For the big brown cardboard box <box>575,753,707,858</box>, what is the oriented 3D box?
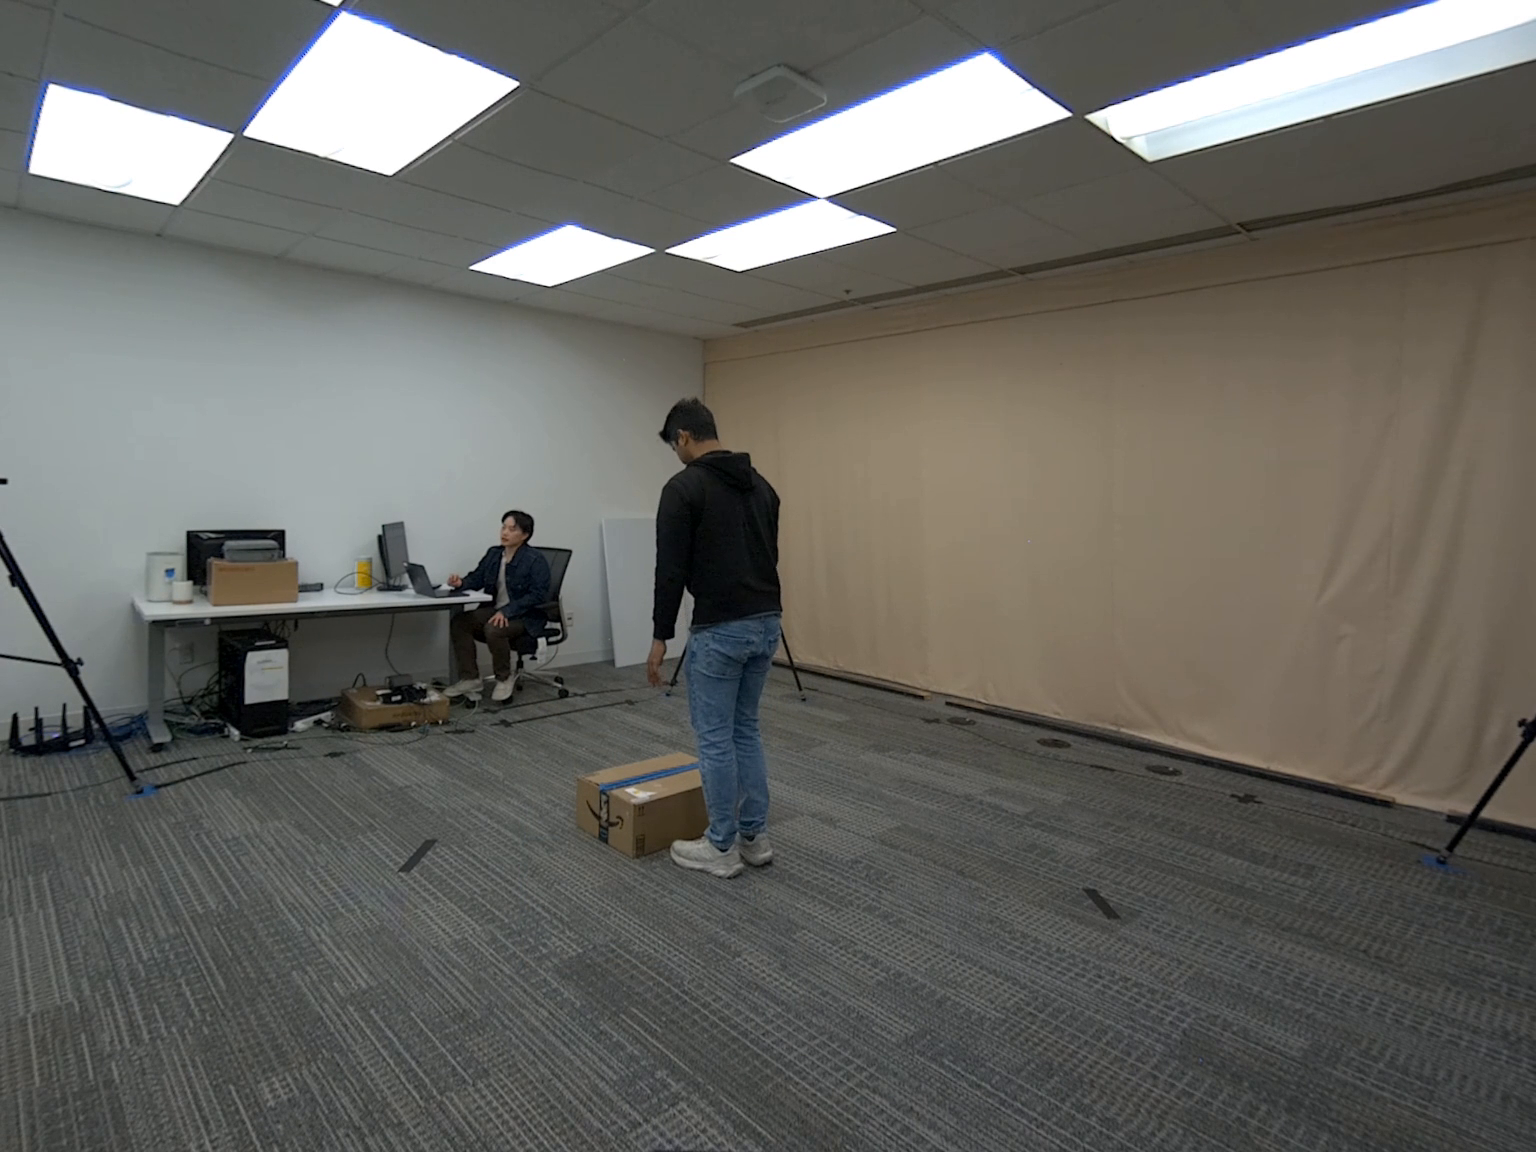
[{"bbox_3d":[-0.467,0.947,3.560,0.575,0.232,0.428,-2,6,-44],"label":"big brown cardboard box"}]
